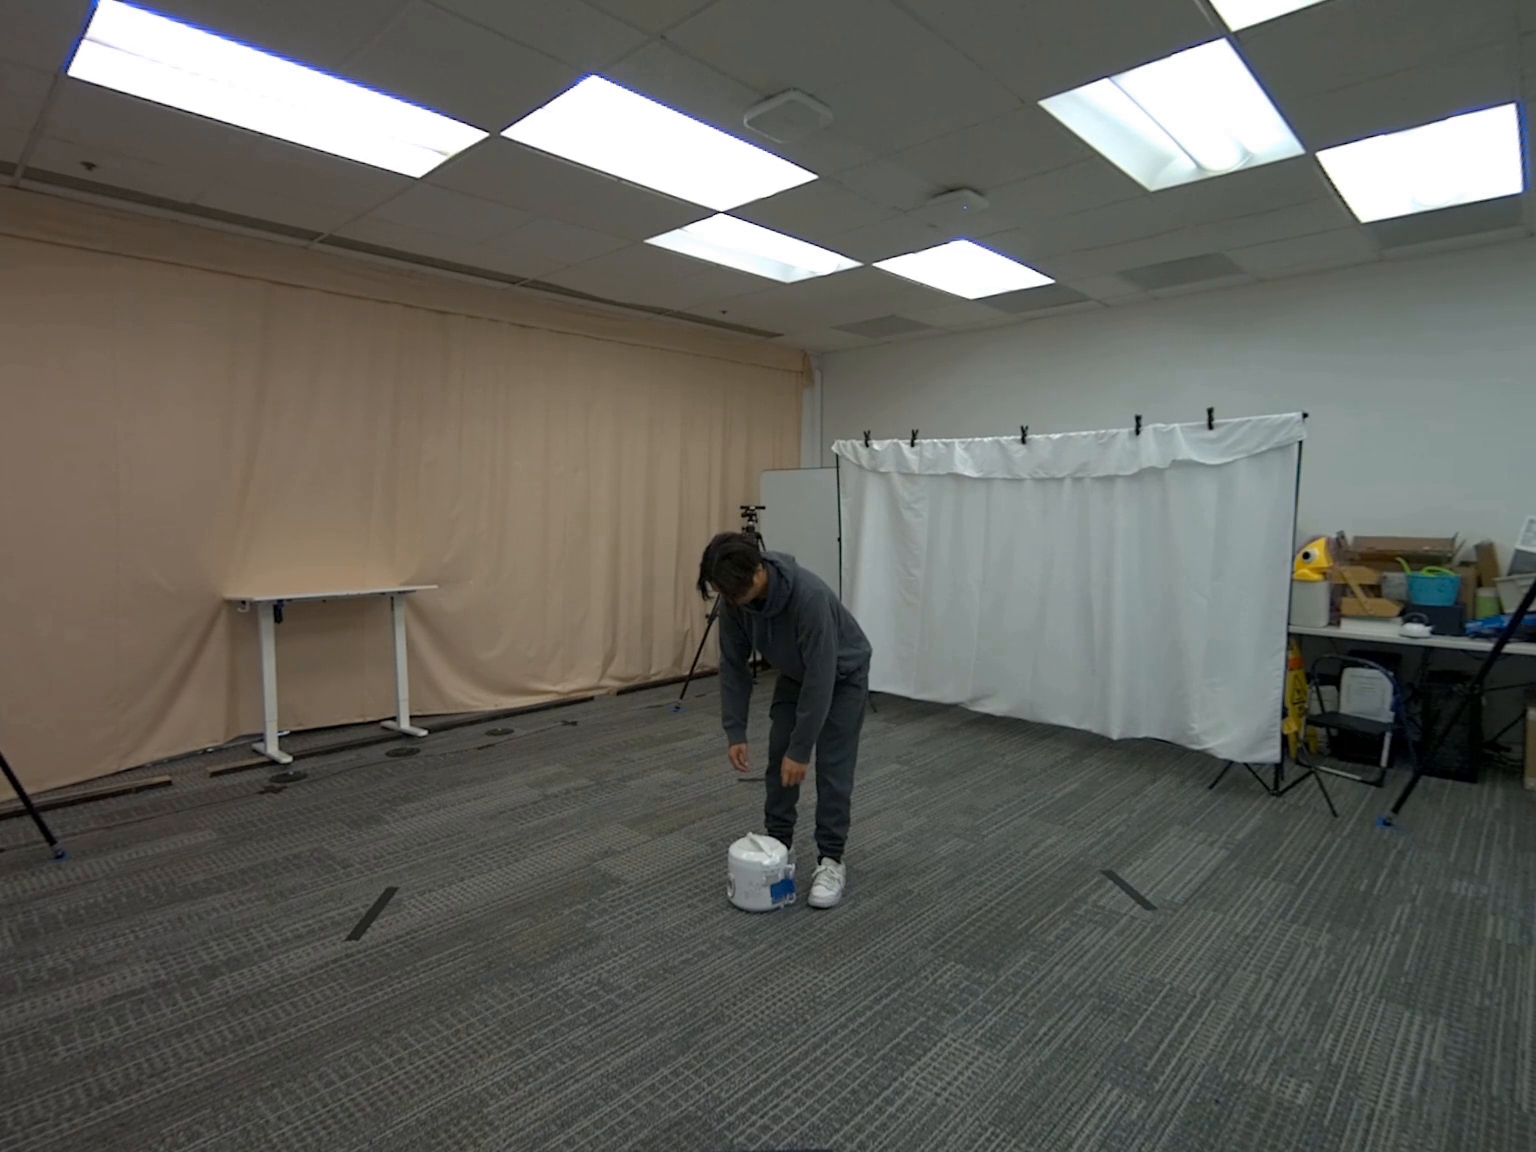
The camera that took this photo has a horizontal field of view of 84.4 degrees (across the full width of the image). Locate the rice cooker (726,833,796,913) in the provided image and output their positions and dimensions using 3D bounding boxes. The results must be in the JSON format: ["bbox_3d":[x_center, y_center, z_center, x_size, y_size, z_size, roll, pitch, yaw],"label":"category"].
[{"bbox_3d":[-0.033,1.029,2.951,0.212,0.232,0.226,-1,3,-25],"label":"rice cooker"}]
